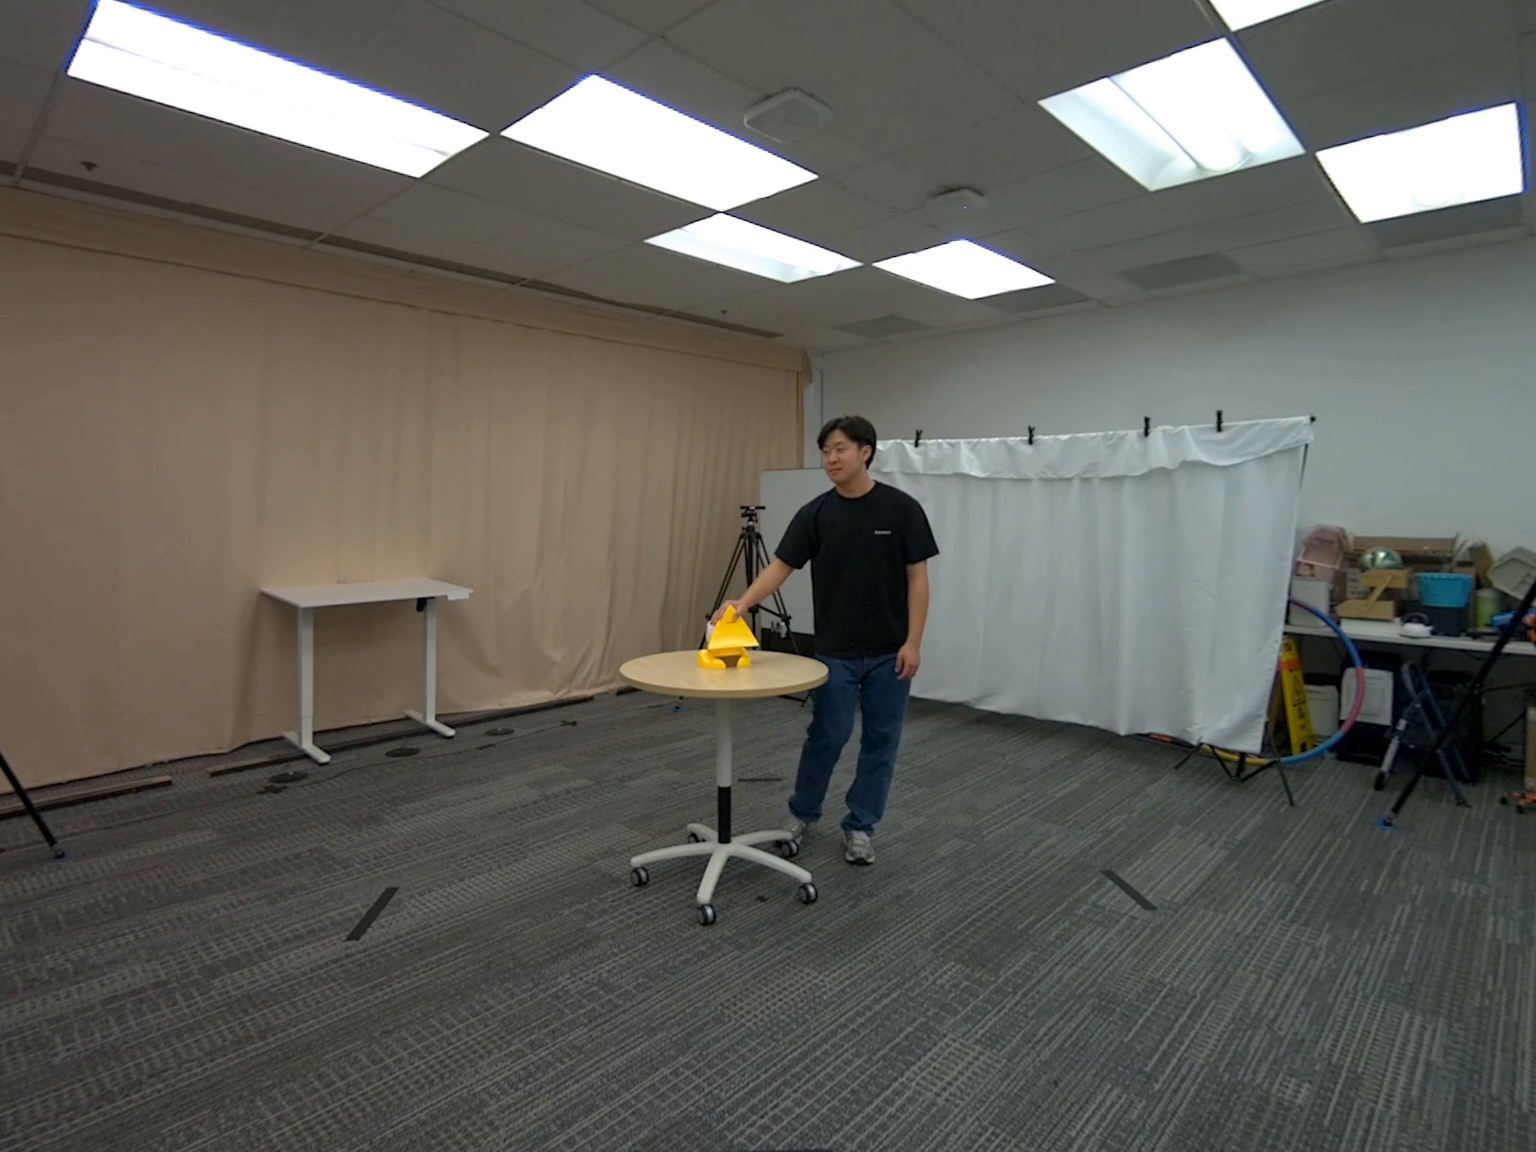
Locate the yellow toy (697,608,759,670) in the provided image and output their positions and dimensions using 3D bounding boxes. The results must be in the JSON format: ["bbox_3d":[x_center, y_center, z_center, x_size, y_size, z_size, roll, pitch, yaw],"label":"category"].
[{"bbox_3d":[-0.168,0.222,3.165,0.200,0.230,0.198,-1,3,-26],"label":"yellow toy"}]
